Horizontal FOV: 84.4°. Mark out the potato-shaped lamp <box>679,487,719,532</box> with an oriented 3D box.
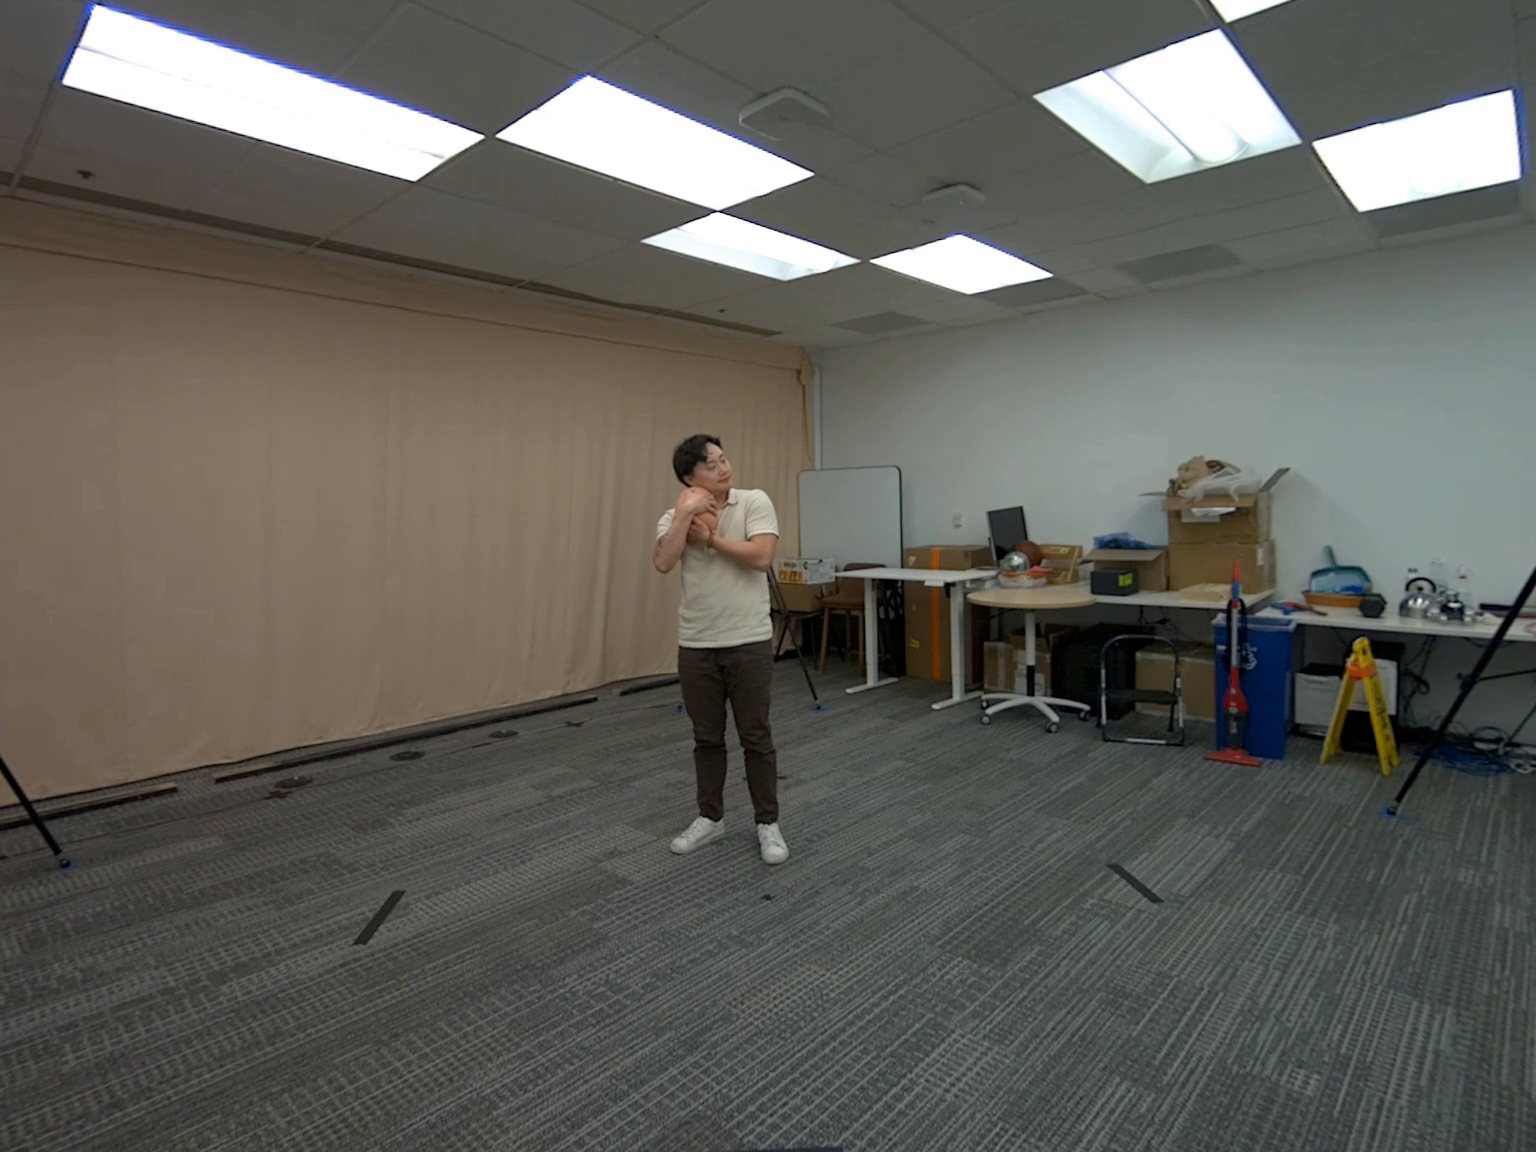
[{"bbox_3d":[-0.274,-0.249,3.292,0.168,0.200,0.166,-15,-46,30],"label":"potato-shaped lamp"}]
